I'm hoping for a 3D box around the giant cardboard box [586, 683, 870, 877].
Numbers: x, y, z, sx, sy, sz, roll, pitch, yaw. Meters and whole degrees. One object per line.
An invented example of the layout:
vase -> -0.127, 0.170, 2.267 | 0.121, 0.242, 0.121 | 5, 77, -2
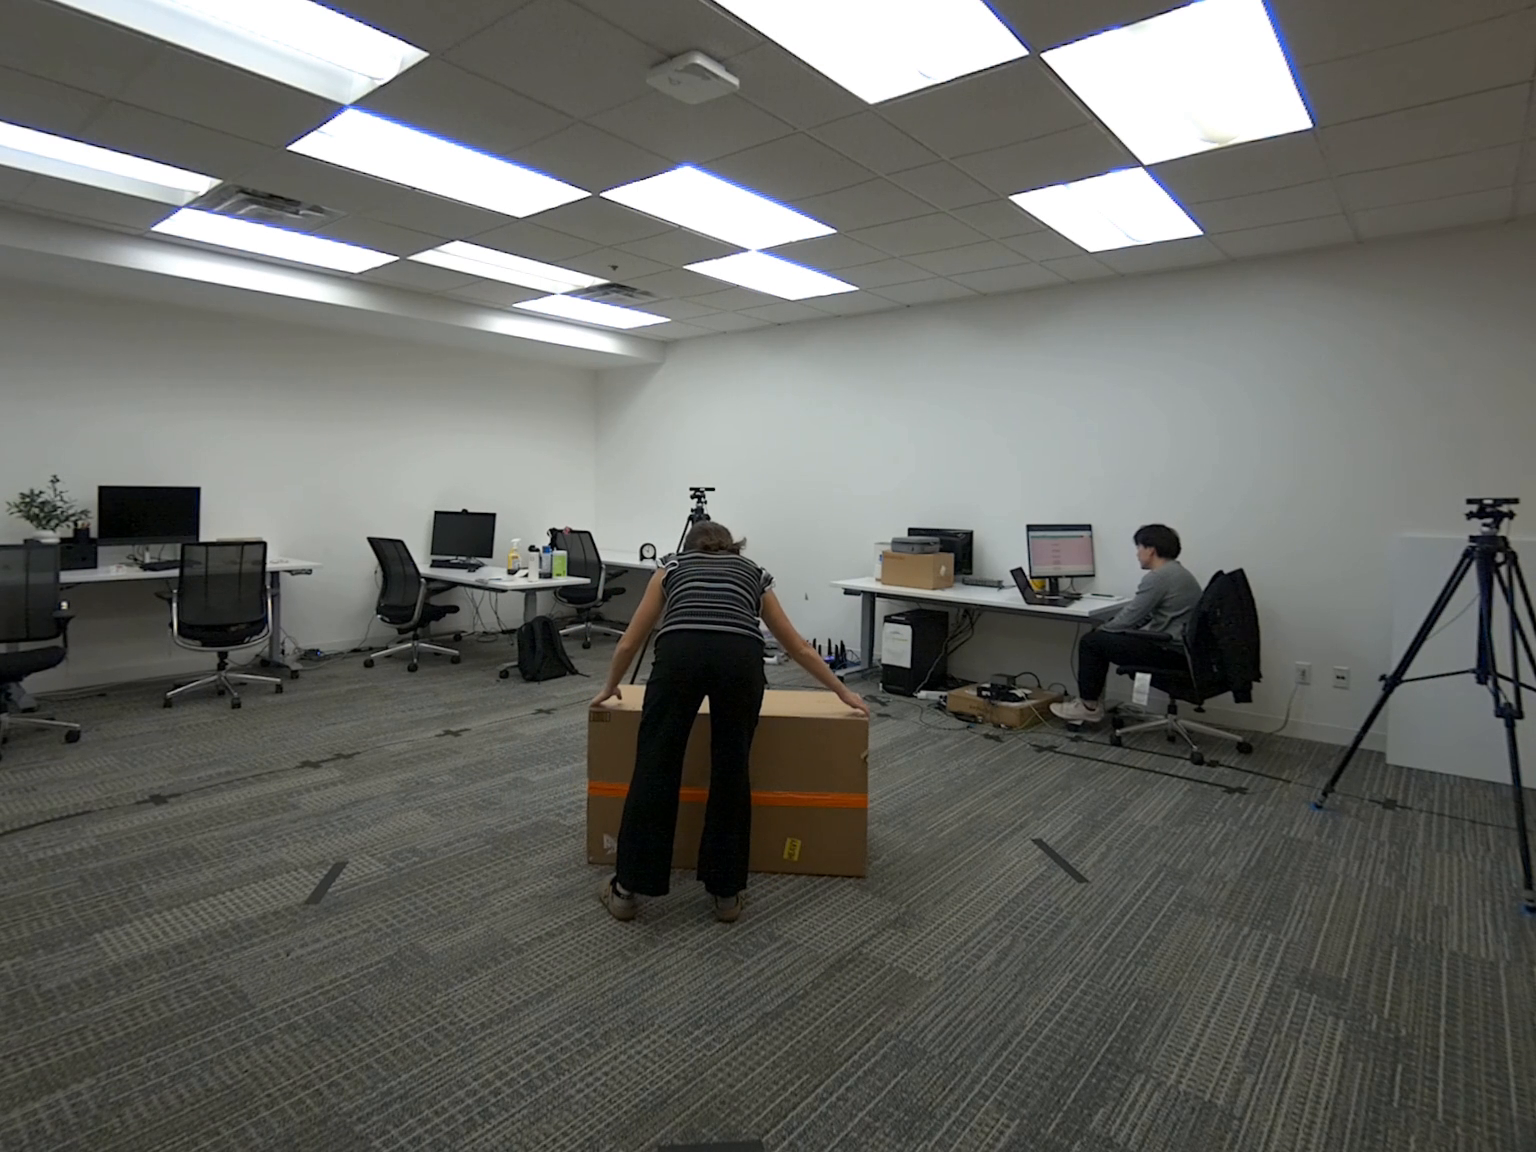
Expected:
giant cardboard box -> -0.163, 0.757, 3.285 | 1.030, 0.575, 0.426 | 1, 4, 3
